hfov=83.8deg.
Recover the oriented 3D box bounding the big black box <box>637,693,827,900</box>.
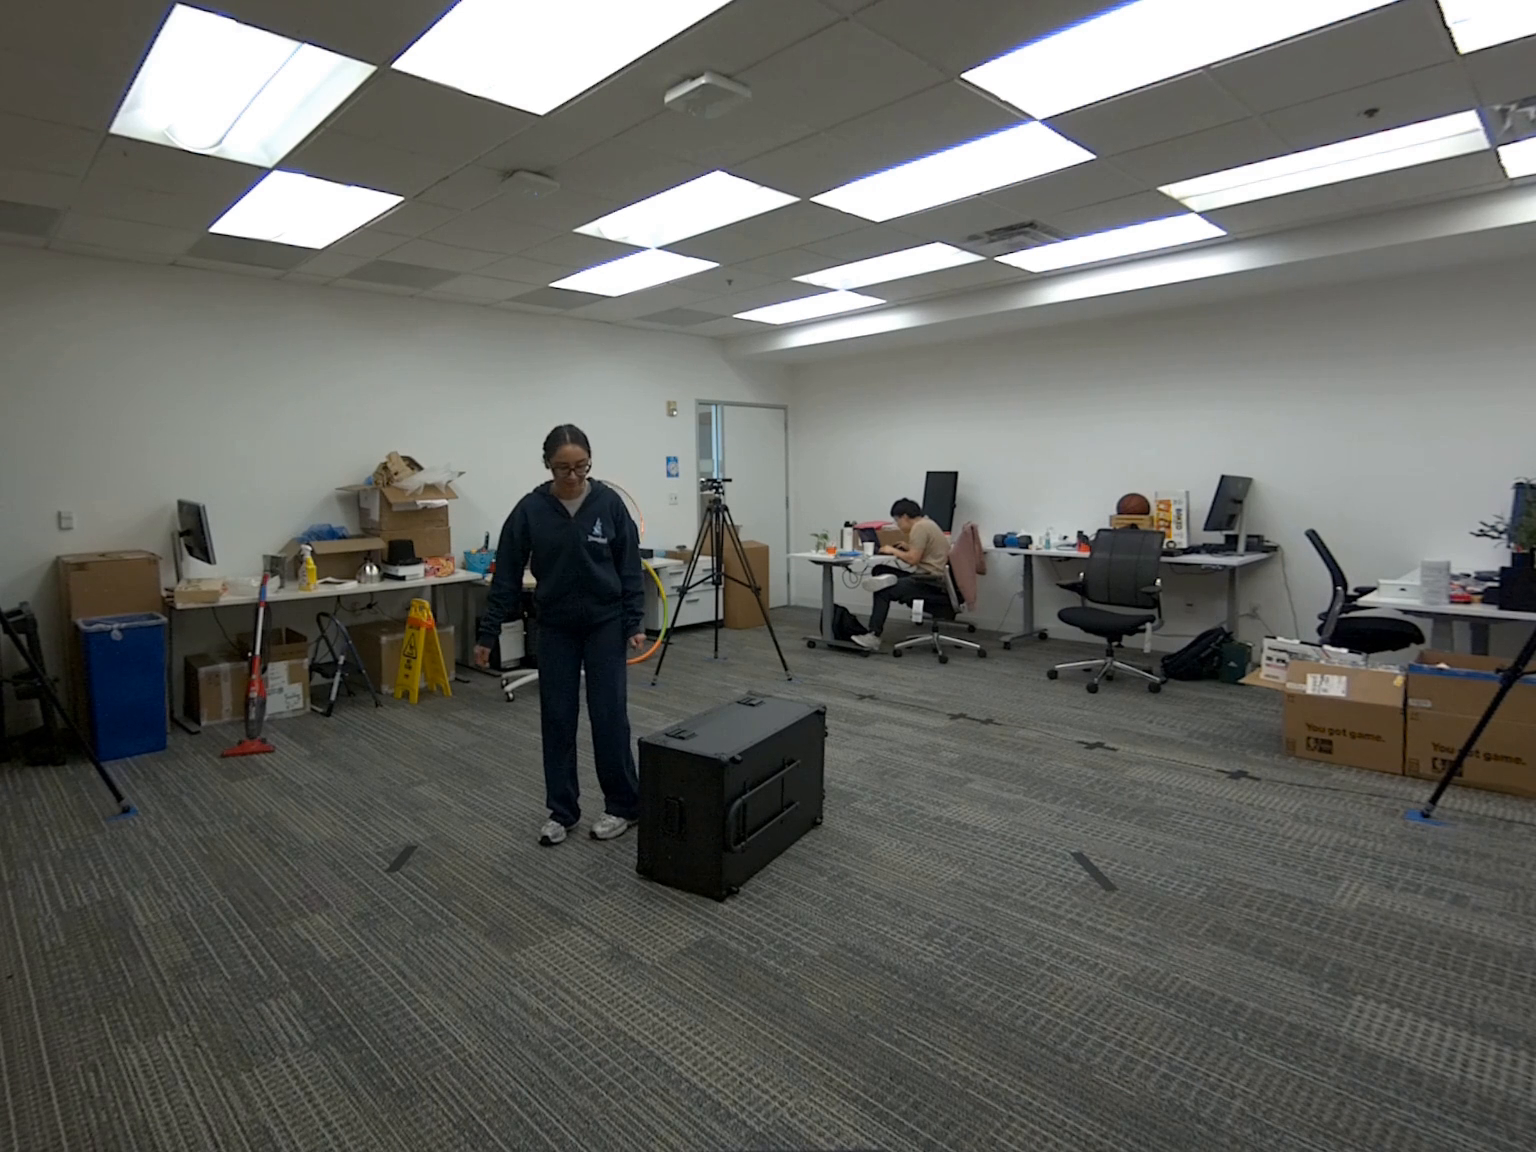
[{"bbox_3d":[-0.086,0.775,3.237,0.407,0.518,0.843,5,8,29],"label":"big black box"}]
